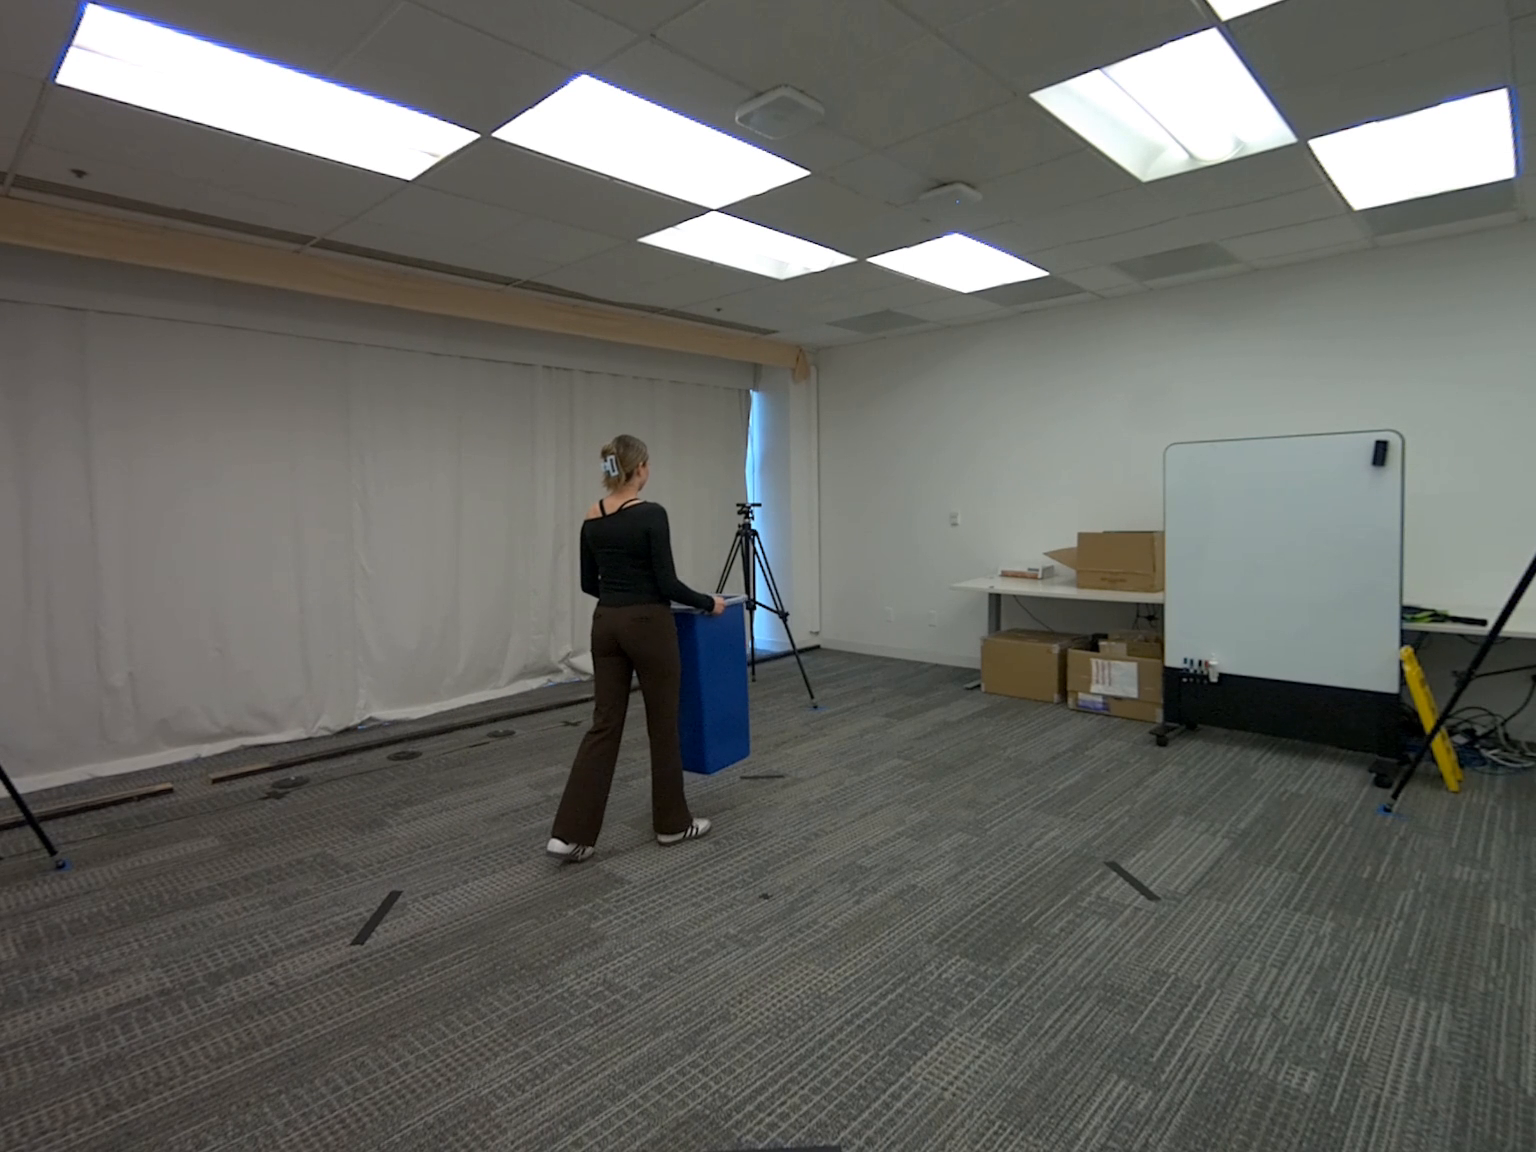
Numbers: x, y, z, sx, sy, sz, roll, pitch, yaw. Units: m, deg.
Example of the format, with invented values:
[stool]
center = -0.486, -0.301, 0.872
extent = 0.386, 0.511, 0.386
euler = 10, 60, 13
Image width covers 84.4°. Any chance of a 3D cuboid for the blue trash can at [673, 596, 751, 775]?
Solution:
[blue trash can]
center = -0.316, 0.457, 3.698
extent = 0.386, 0.711, 0.367
euler = 0, 5, 38
